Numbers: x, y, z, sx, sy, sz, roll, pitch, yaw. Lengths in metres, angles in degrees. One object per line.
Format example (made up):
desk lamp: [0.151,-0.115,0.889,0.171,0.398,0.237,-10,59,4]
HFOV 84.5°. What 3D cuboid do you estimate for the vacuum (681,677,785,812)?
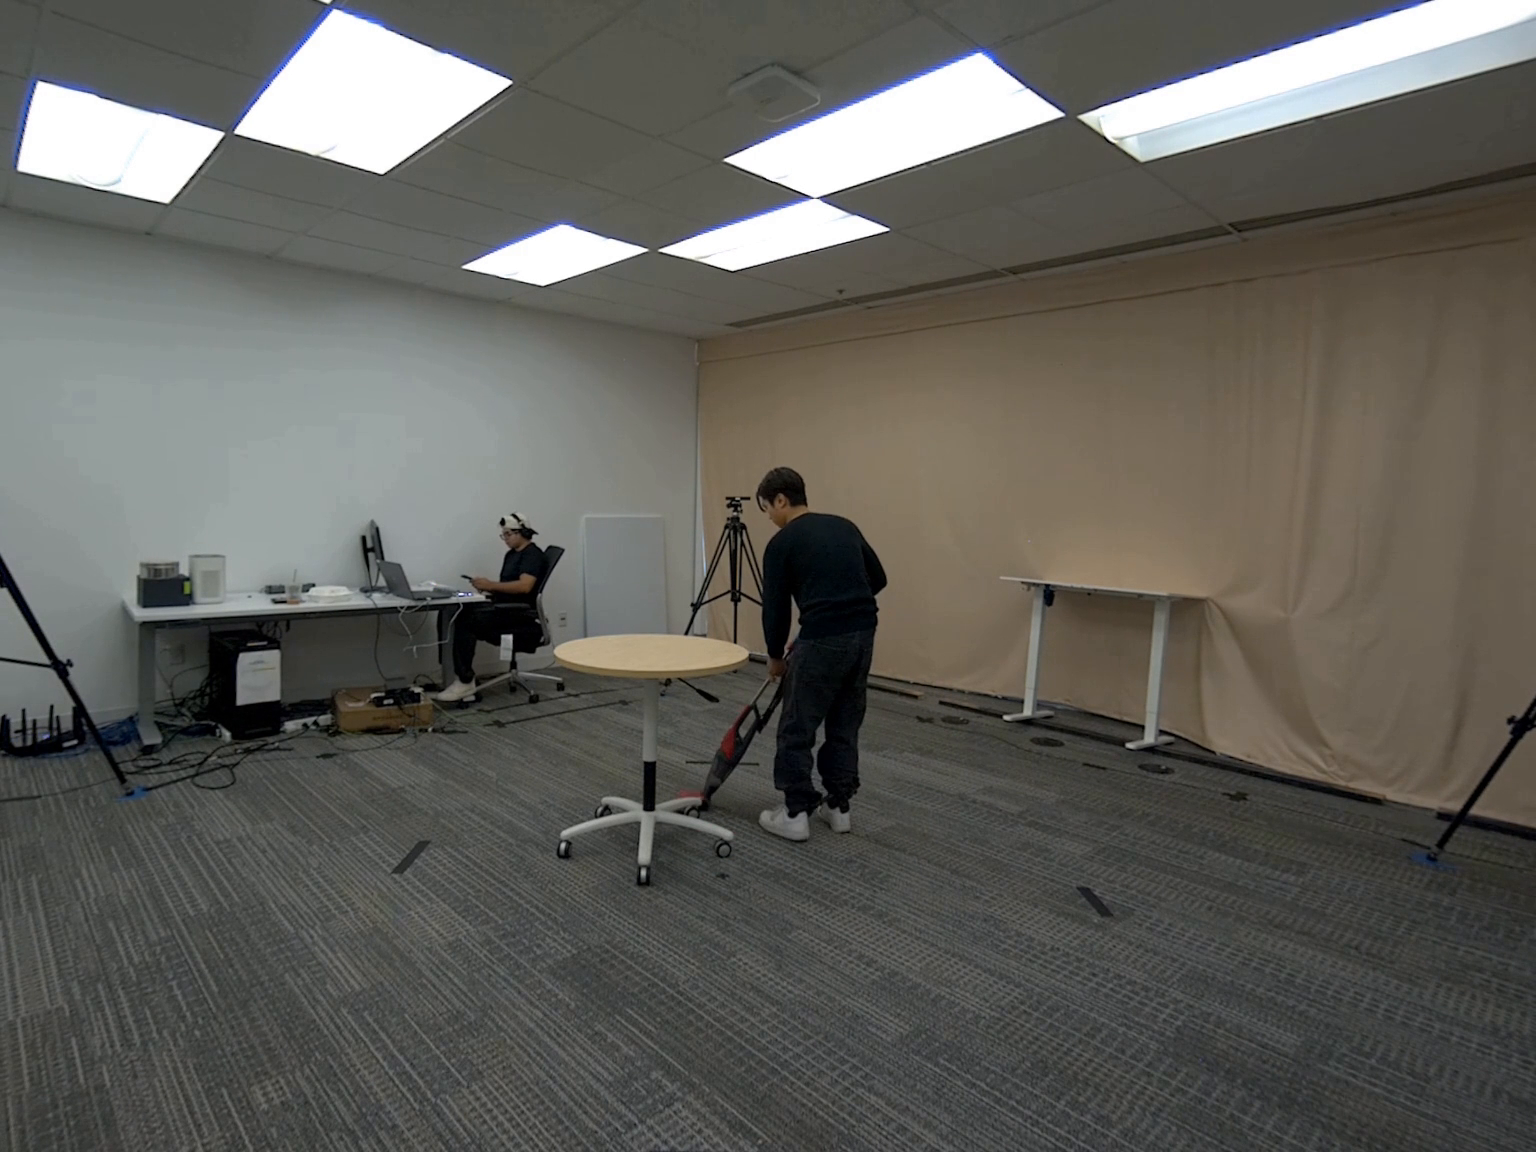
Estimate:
vacuum: [-0.054,0.594,3.778,0.144,1.049,0.253,34,2,-2]
